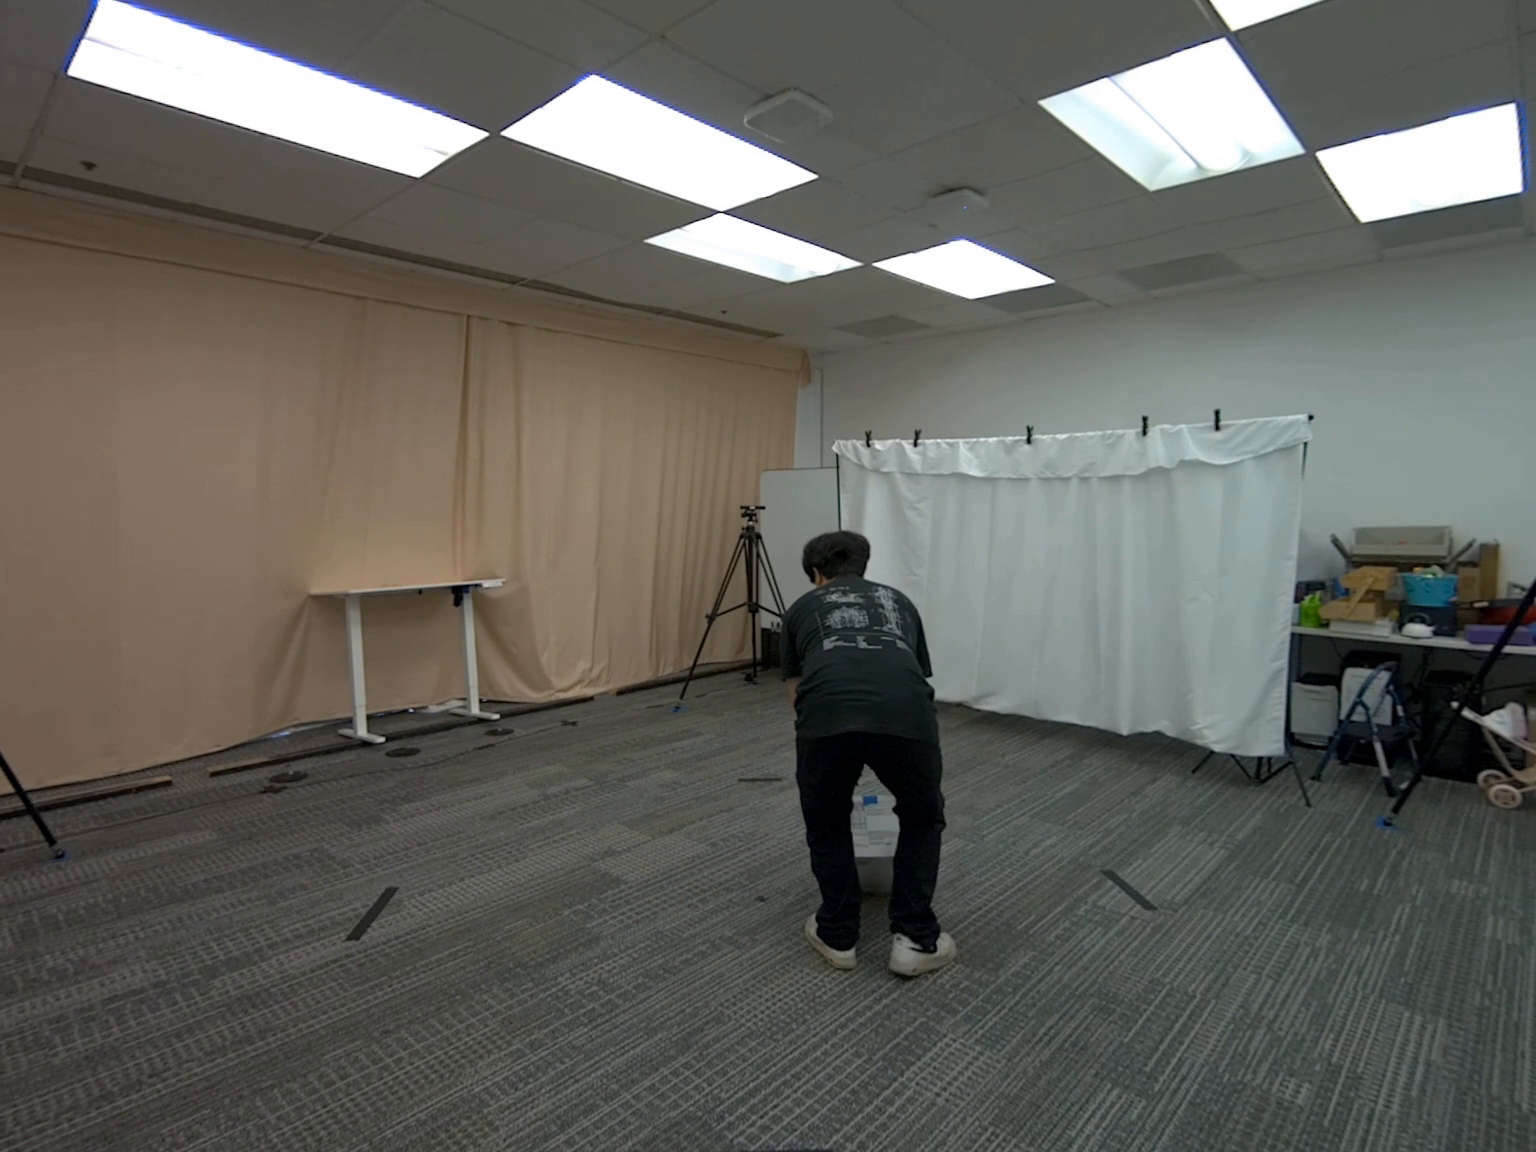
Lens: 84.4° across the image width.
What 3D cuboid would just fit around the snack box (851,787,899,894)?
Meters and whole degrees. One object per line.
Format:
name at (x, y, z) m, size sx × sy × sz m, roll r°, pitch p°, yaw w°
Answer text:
snack box at (0.369, 0.939, 2.947) m, size 0.341 × 0.209 × 0.397 m, roll -2°, pitch -34°, yaw 2°
